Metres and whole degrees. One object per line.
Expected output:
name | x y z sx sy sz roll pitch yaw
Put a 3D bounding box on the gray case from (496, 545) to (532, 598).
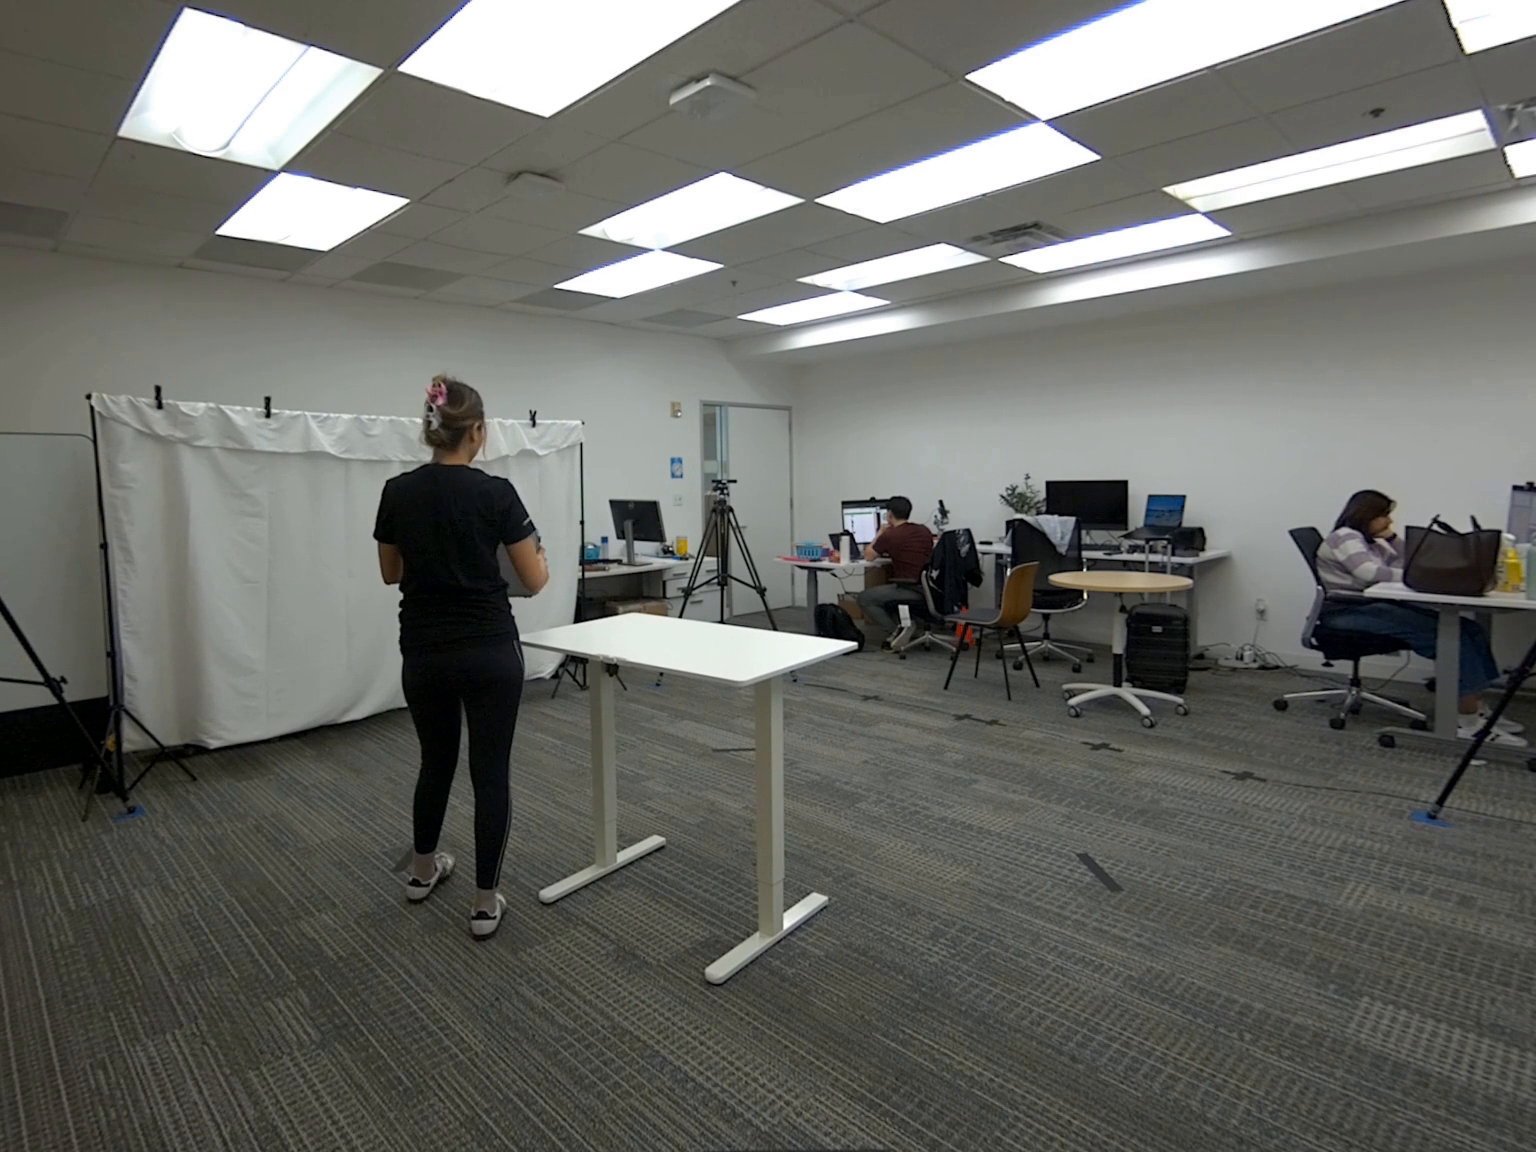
gray case | -0.946 -0.060 3.072 0.258 0.260 0.104 1 1 3
